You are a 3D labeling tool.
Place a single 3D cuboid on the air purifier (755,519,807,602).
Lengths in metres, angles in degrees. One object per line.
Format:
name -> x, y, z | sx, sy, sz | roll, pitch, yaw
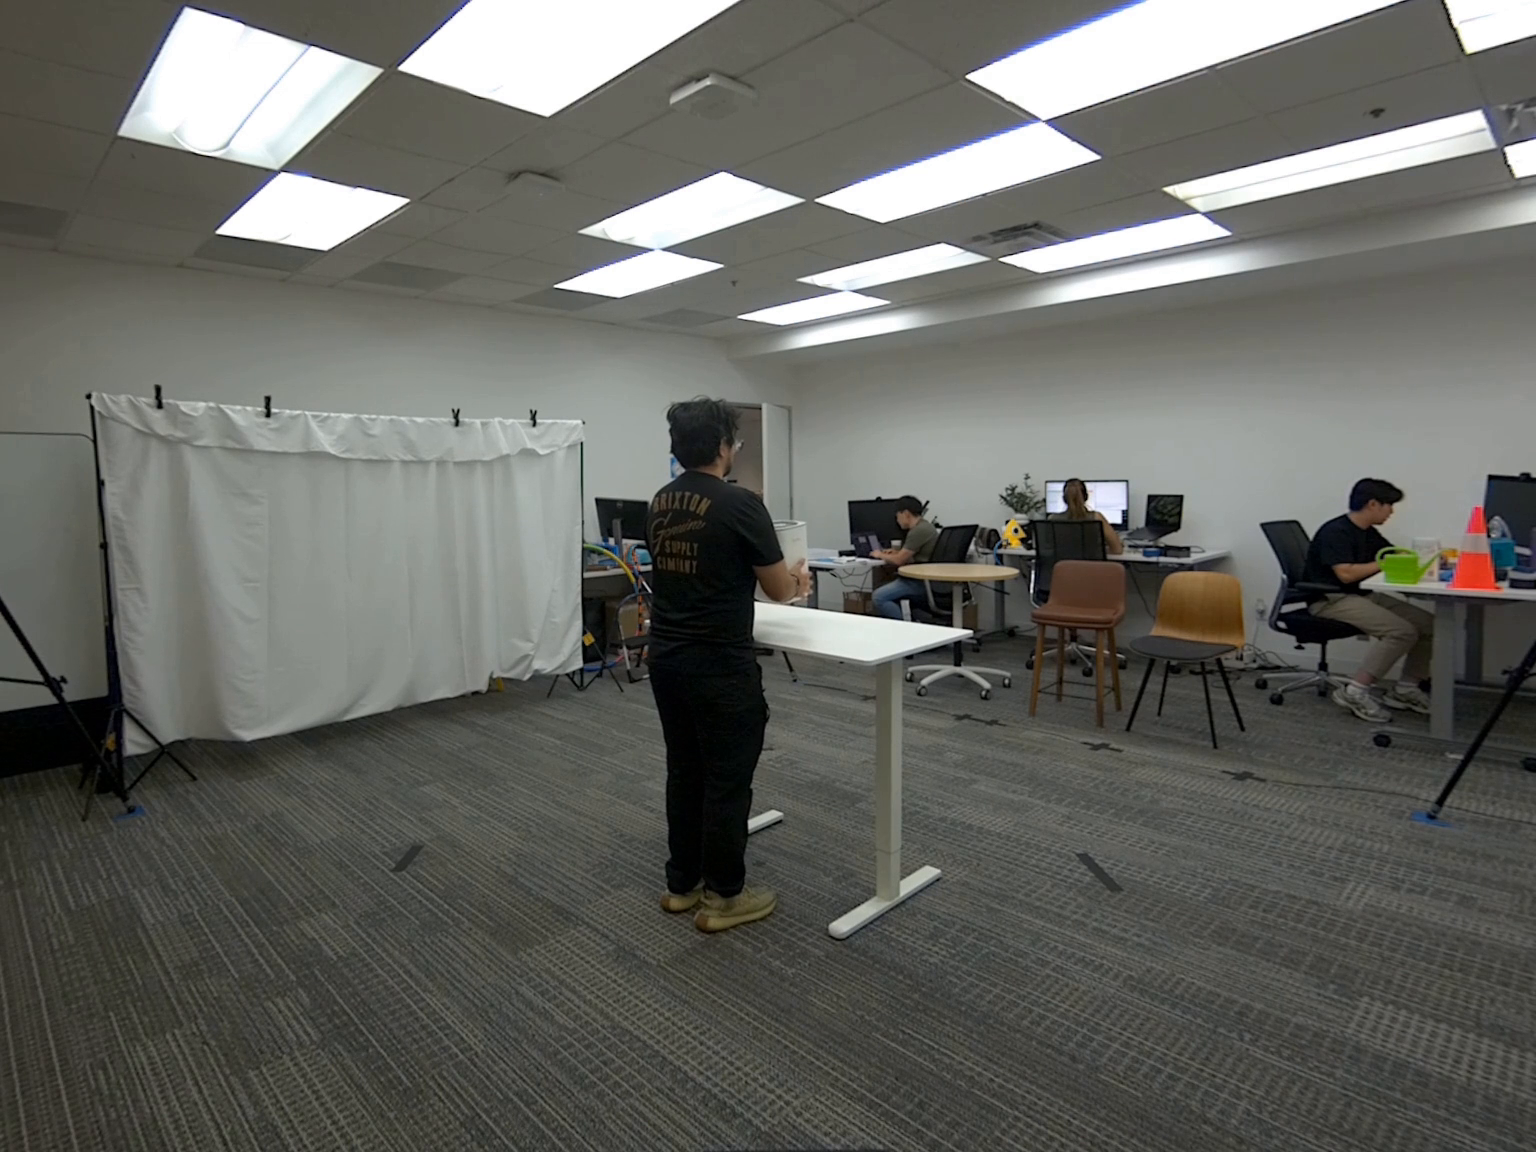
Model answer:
air purifier -> 0.043, -0.048, 2.992 | 0.177, 0.263, 0.167 | 7, 14, 41
